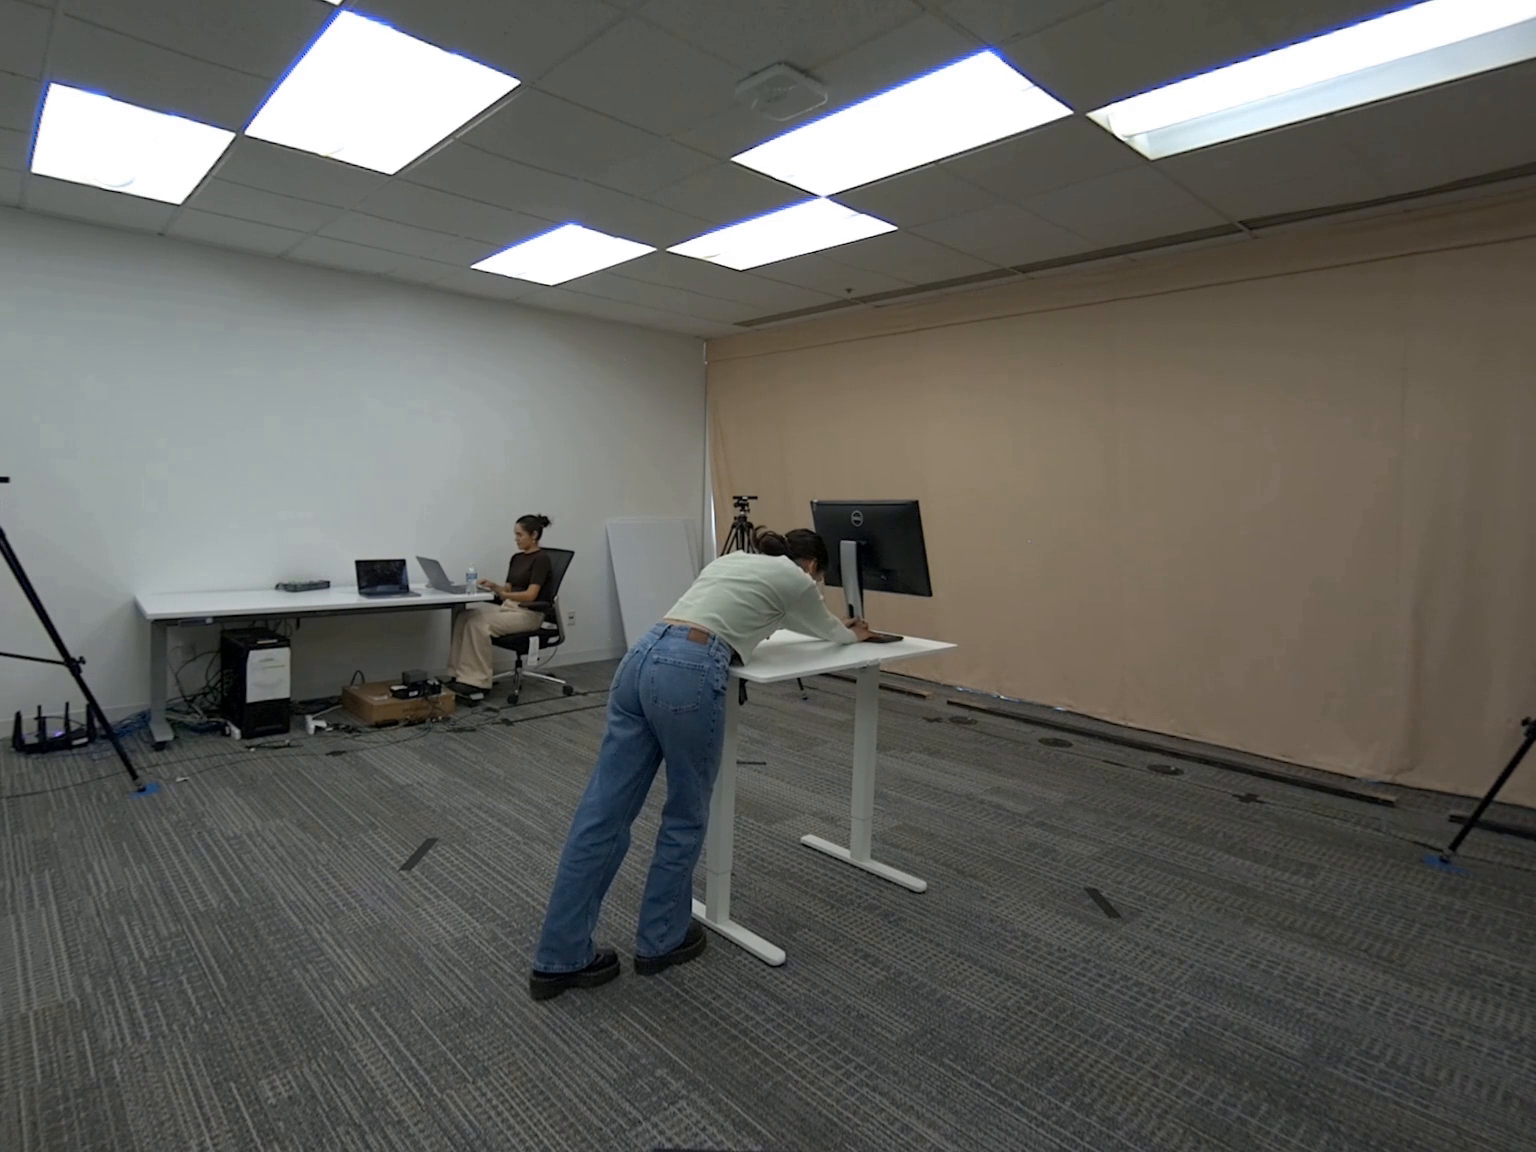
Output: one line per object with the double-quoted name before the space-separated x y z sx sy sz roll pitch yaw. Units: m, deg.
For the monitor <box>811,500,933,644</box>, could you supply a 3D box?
"monitor" 0.347 -0.021 3.133 0.183 0.521 0.552 -4 5 -41
